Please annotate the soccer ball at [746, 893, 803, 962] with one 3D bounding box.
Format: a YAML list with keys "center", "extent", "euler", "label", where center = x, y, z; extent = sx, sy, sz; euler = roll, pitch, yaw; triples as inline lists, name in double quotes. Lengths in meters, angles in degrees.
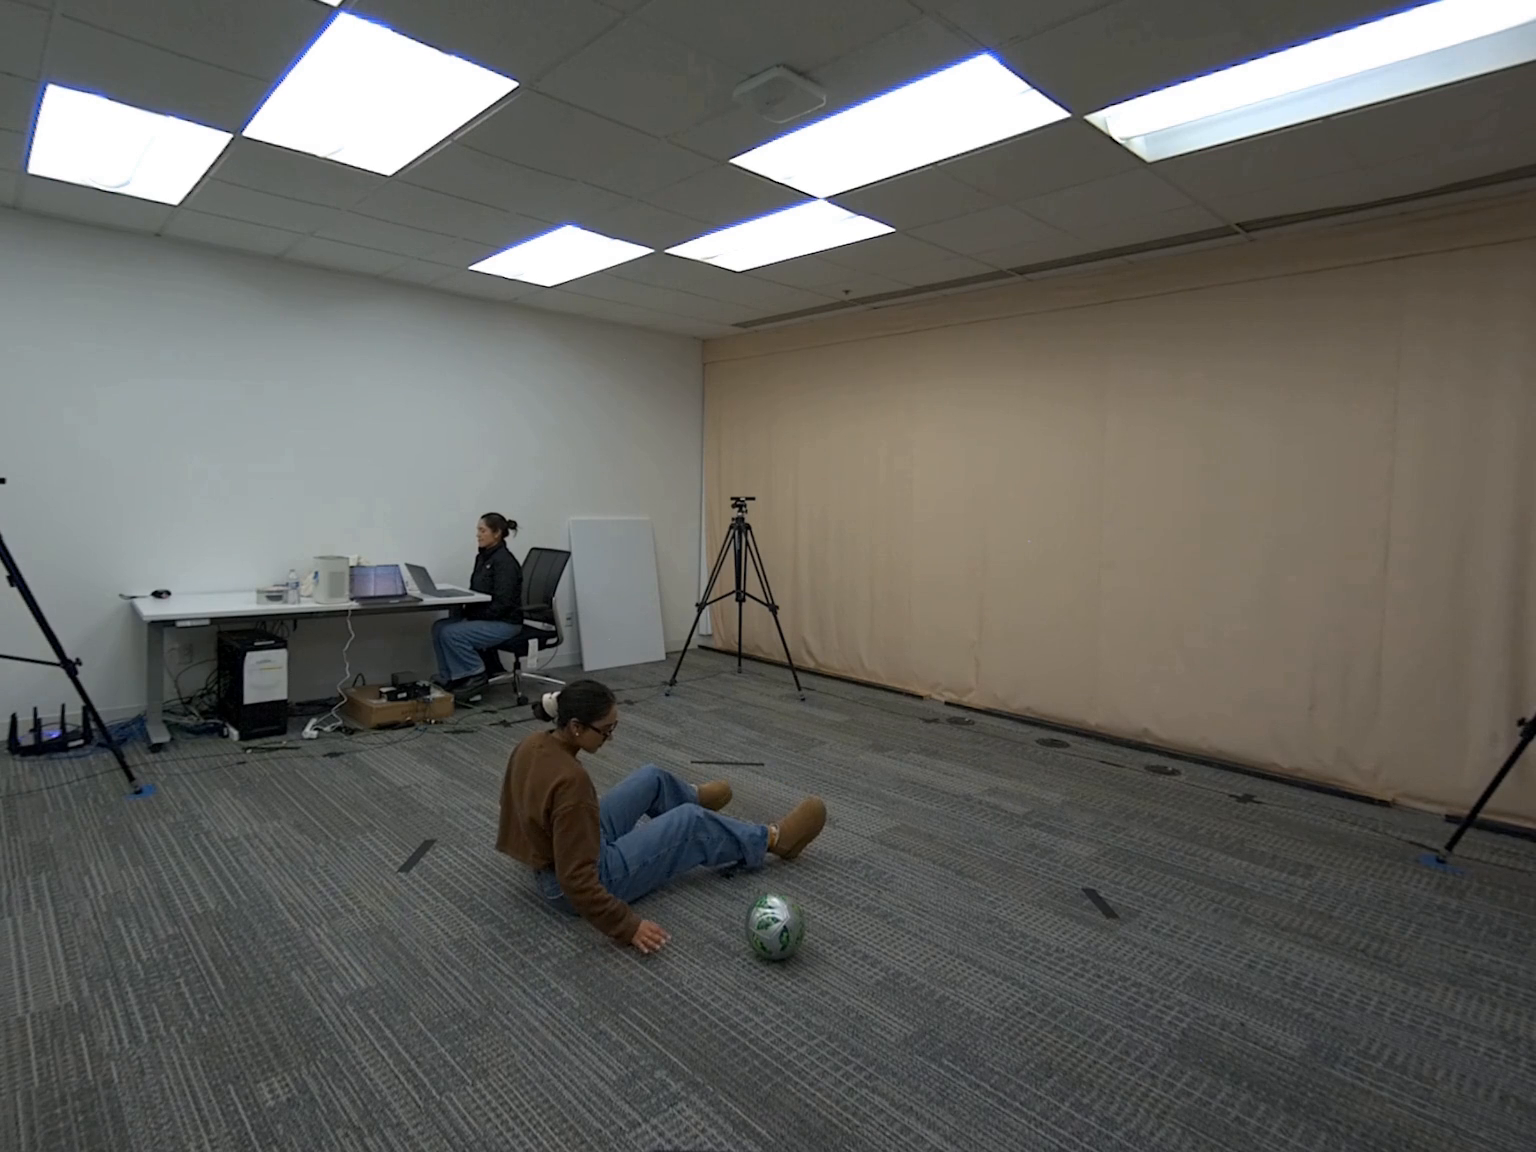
- center: [0.014, 1.069, 2.561]
  extent: [0.187, 0.187, 0.188]
  euler: [1, 4, -1]
  label: "soccer ball"
